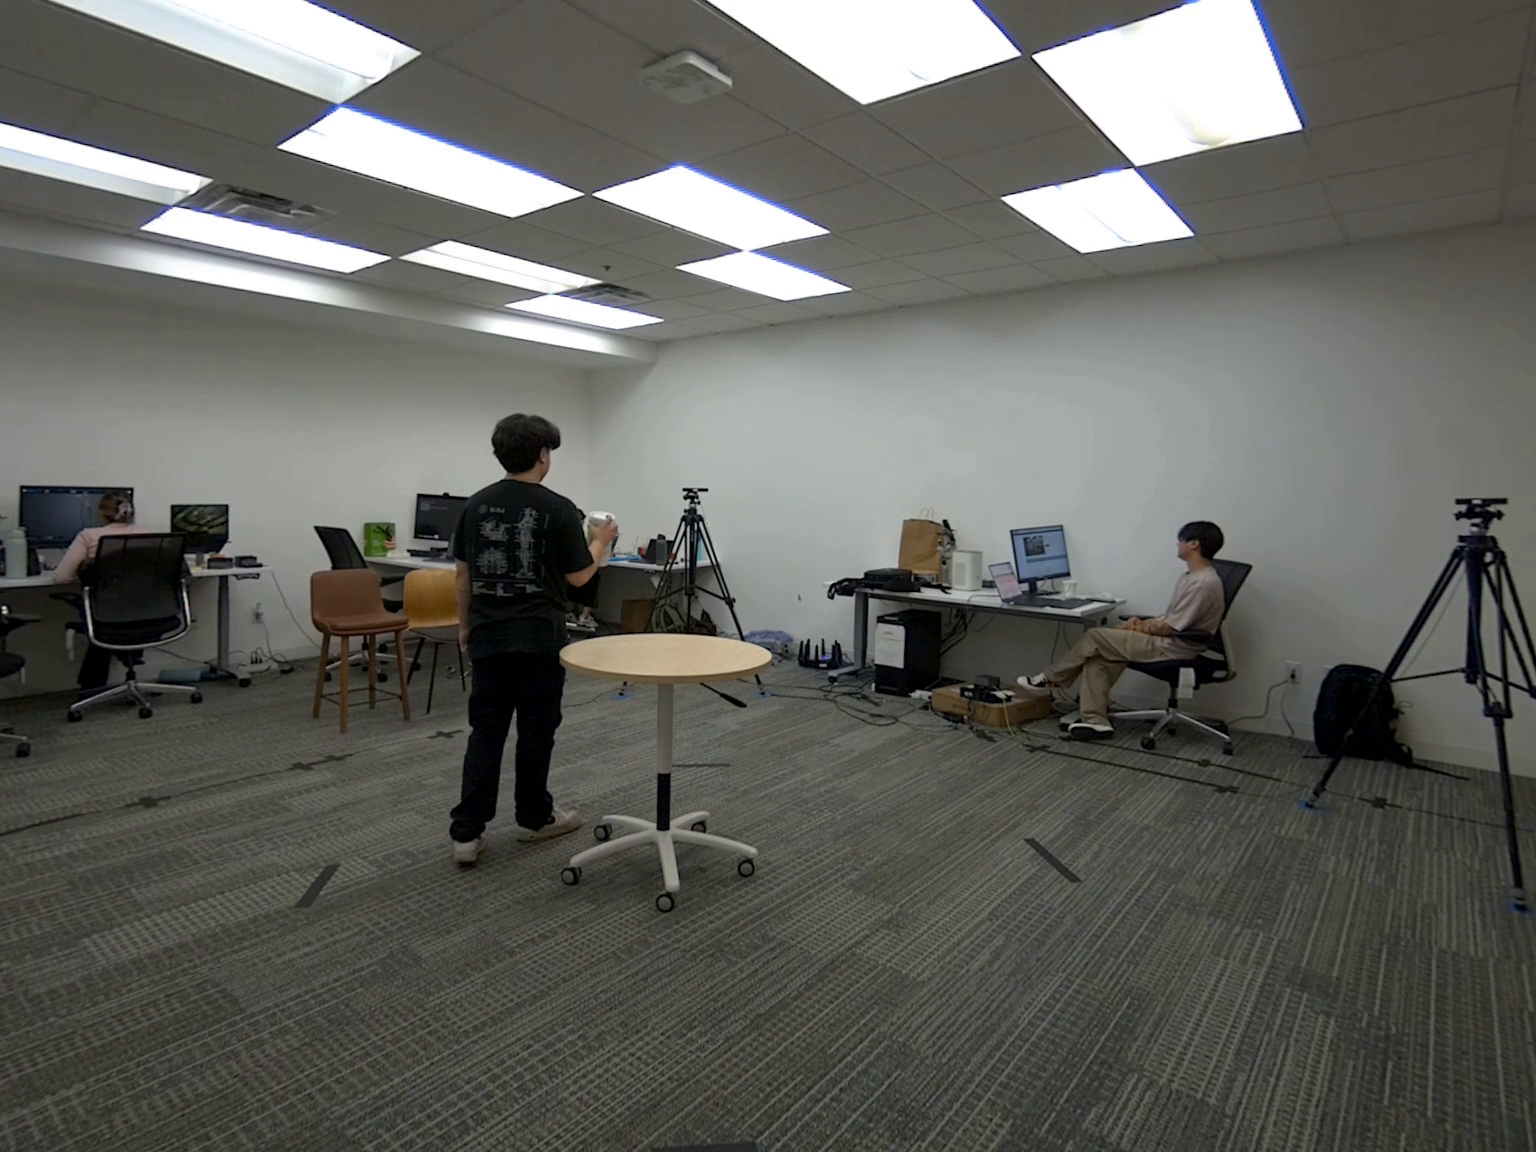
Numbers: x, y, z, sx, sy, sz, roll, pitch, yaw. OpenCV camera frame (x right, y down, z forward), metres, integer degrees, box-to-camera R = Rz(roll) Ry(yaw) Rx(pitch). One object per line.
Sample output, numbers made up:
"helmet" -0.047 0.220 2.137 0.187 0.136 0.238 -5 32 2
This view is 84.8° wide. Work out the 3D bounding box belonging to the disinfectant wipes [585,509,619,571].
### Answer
"disinfectant wipes" -0.717 -0.156 3.577 0.117 0.215 0.120 10 17 -5
